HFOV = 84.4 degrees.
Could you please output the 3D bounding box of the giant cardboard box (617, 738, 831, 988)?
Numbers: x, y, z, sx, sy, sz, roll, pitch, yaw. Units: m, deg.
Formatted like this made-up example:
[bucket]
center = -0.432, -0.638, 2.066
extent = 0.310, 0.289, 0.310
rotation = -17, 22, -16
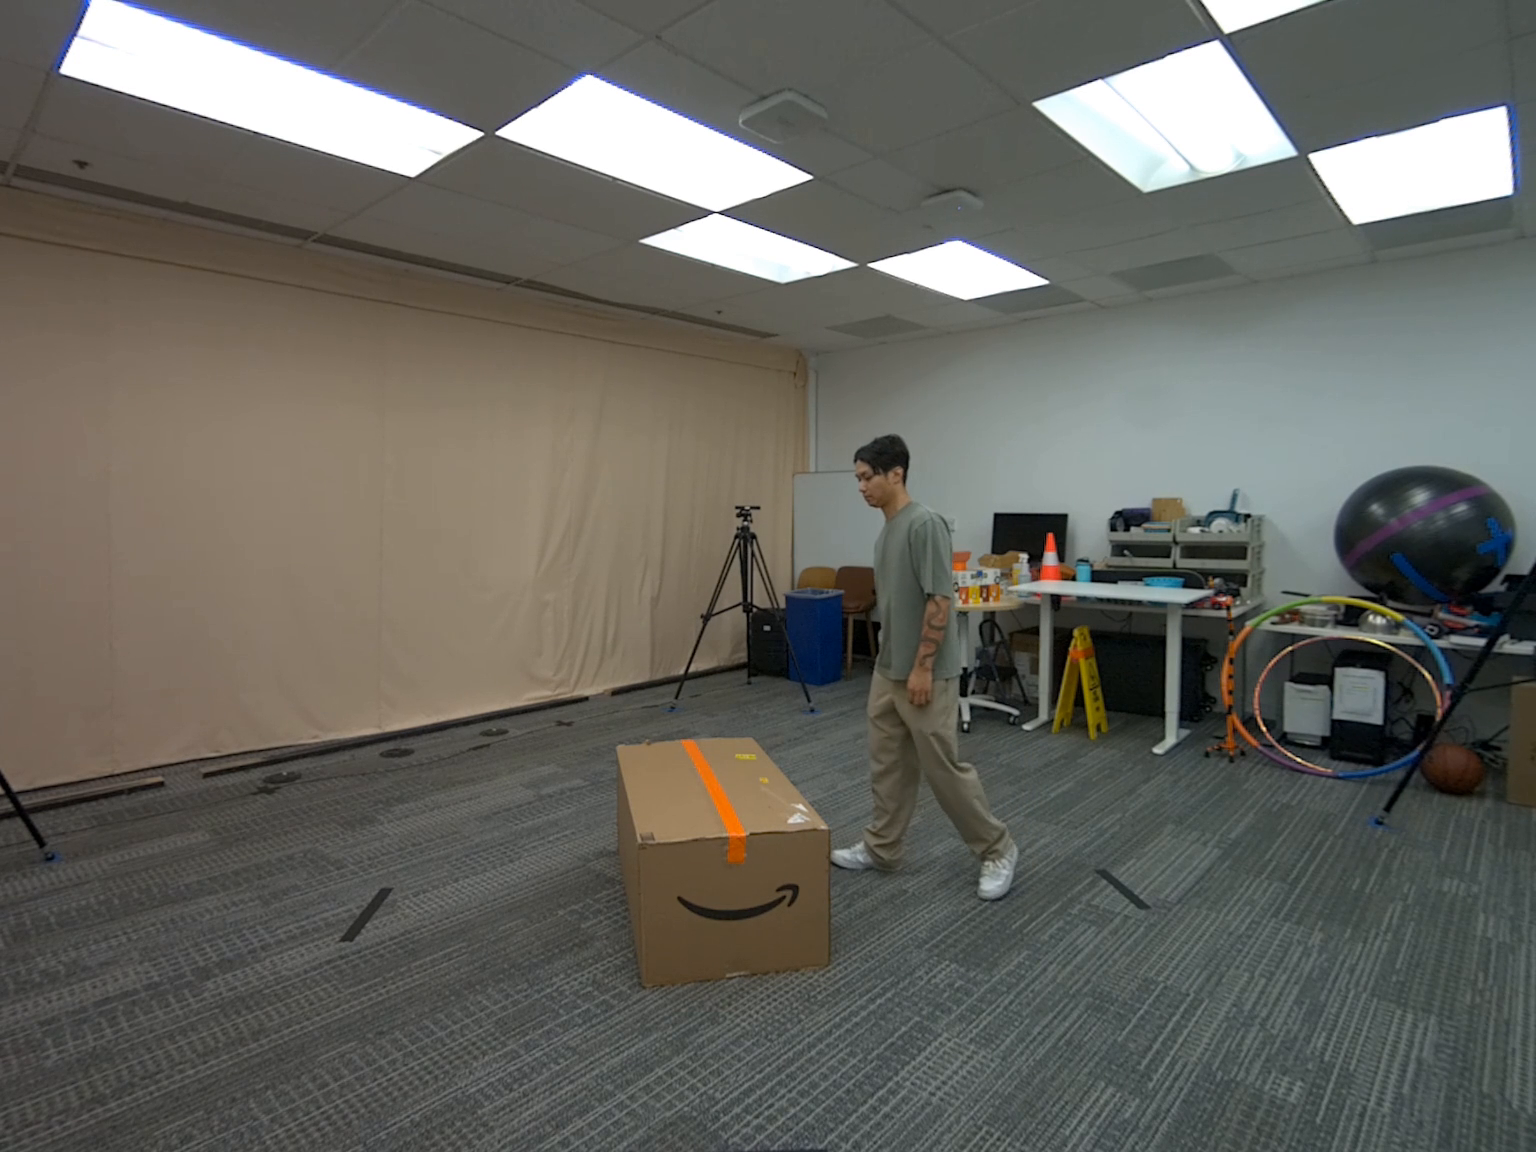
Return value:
[giant cardboard box]
center = -0.214, 0.928, 2.974
extent = 0.570, 0.425, 1.042
rotation = -1, 4, -13
